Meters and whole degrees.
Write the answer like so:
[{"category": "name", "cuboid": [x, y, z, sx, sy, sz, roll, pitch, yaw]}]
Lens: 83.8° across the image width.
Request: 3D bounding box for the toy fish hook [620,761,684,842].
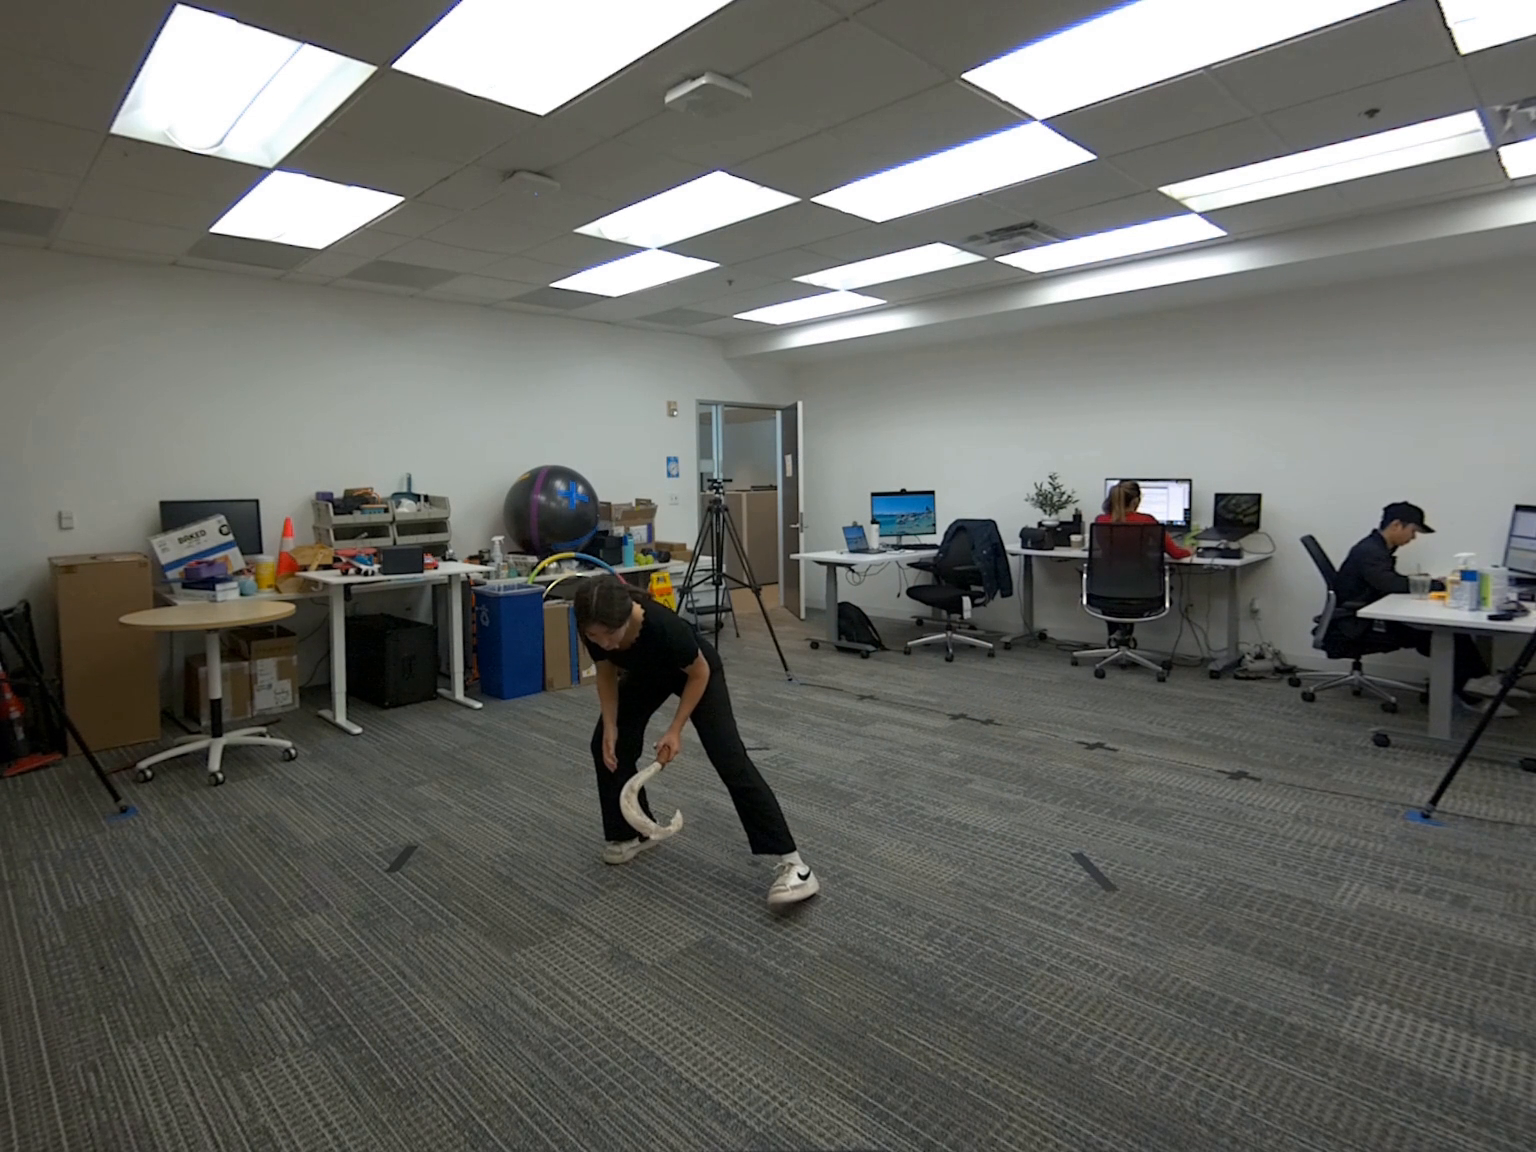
[{"category": "toy fish hook", "cuboid": [-0.341, 0.683, 2.800, 0.048, 0.223, 0.511, -46, 8, 21]}]
